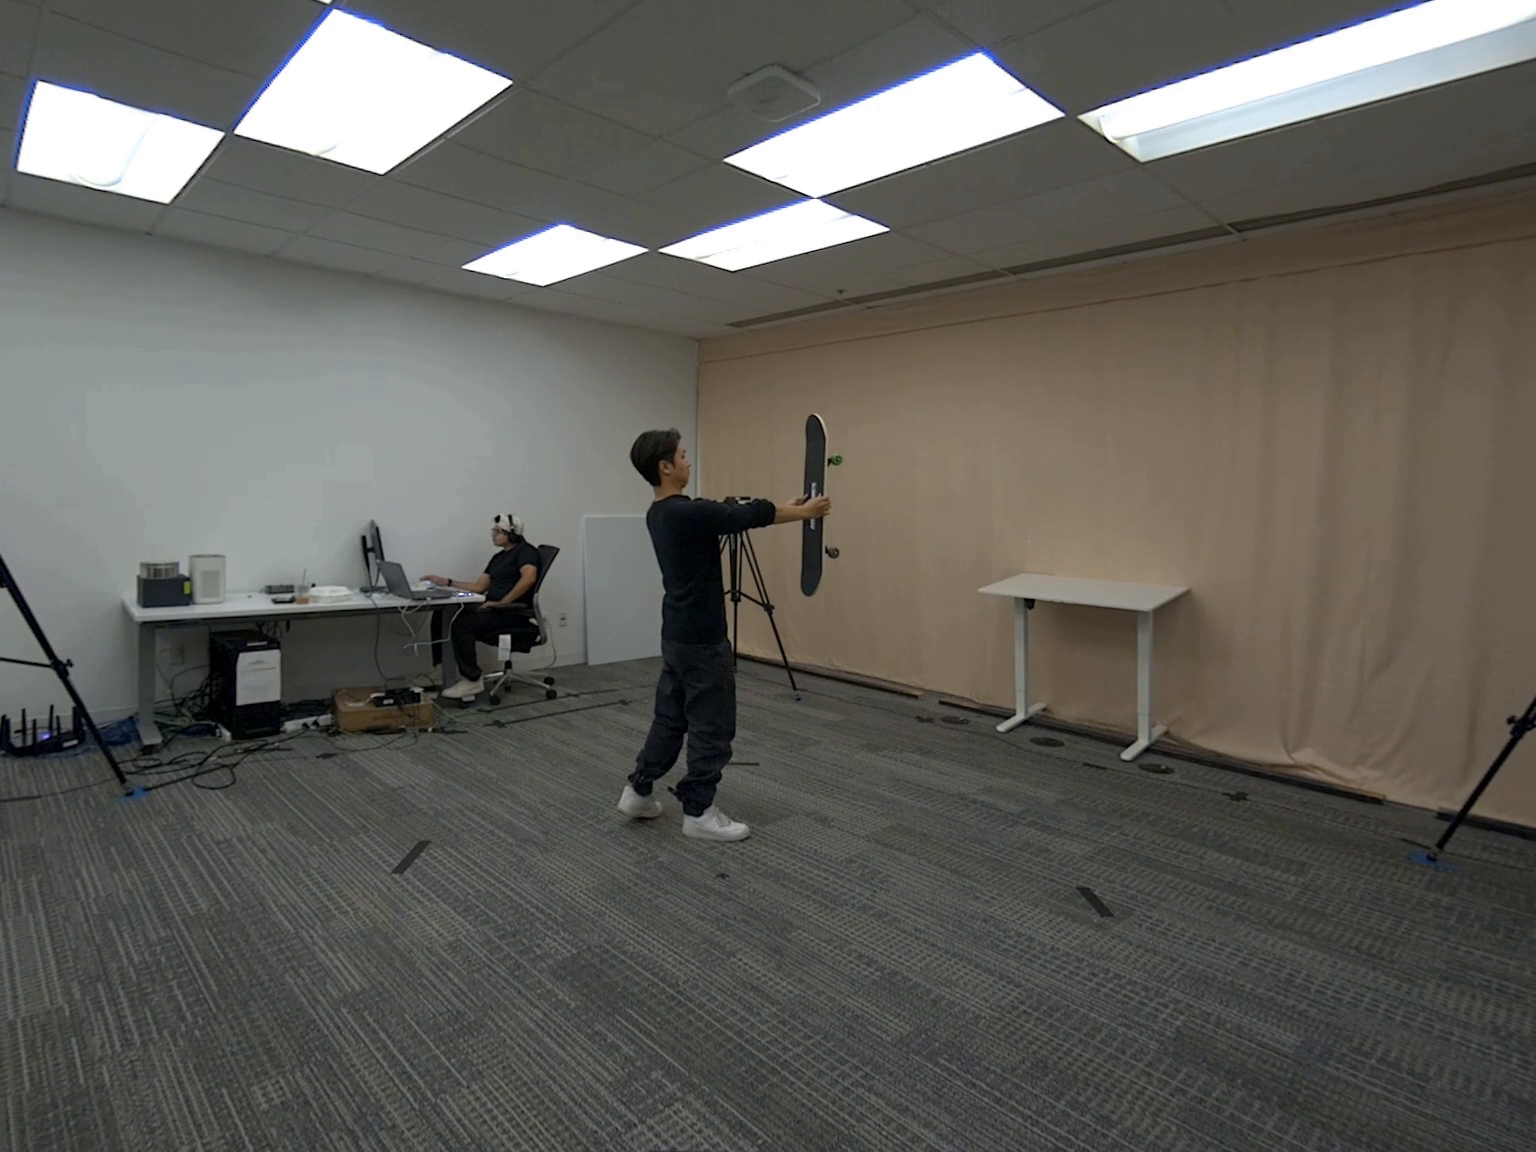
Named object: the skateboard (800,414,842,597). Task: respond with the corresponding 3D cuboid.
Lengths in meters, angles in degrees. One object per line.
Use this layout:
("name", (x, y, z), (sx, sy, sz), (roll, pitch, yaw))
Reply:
("skateboard", (0.221, -0.302, 3.660), (0.108, 0.784, 0.197), (1, 2, -24))
